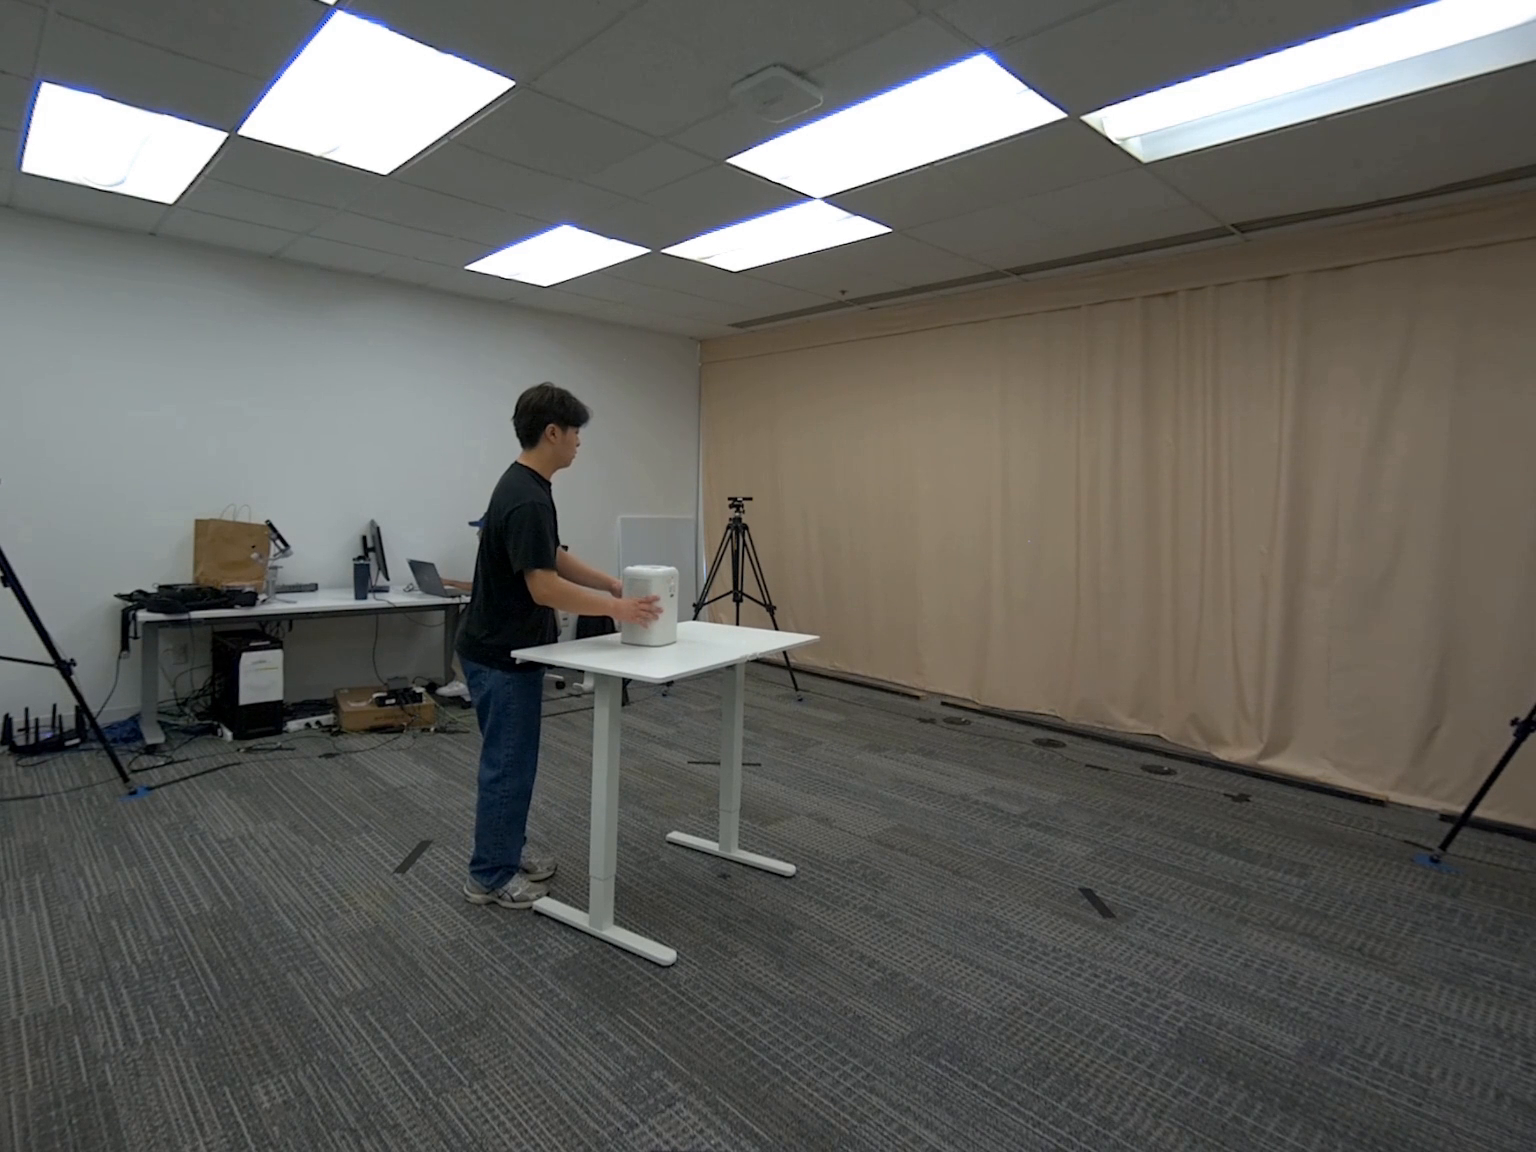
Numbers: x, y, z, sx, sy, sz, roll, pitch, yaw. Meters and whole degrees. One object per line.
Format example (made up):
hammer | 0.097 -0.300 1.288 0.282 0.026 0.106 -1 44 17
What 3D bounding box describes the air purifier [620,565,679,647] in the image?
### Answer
air purifier | -0.423 0.099 2.929 0.175 0.264 0.168 6 5 22
